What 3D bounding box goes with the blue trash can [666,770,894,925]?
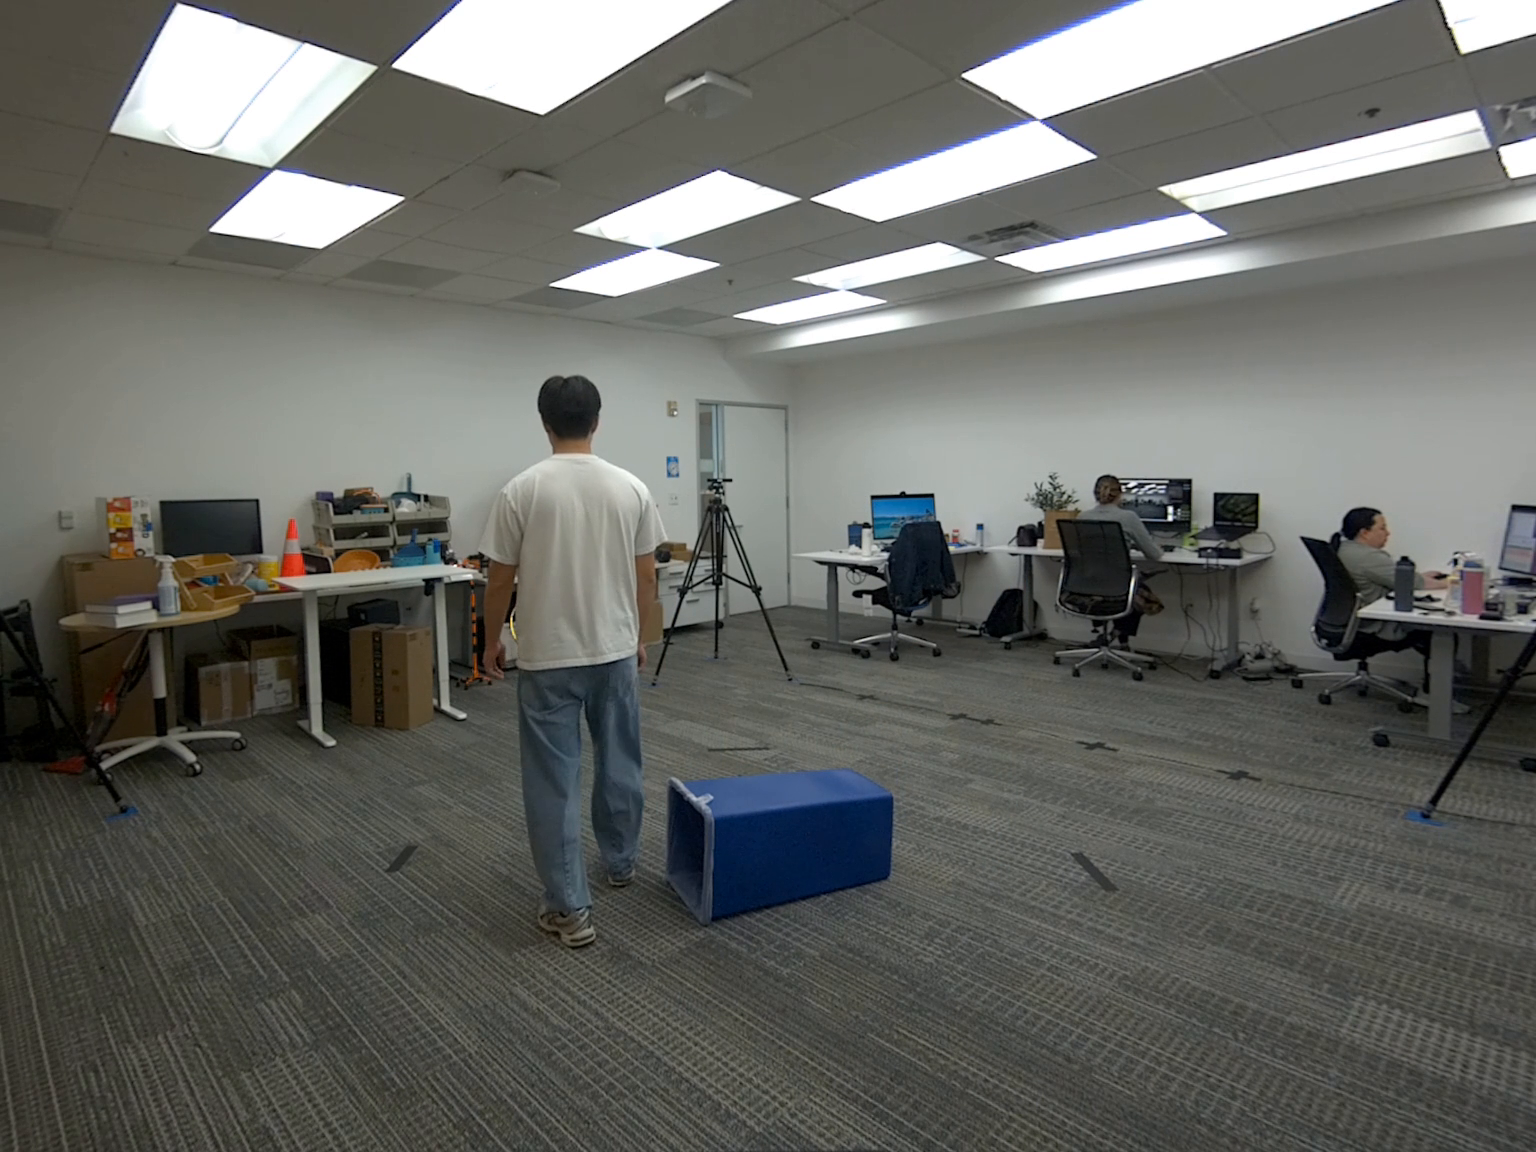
[{"bbox_3d":[0.047,0.895,2.963,0.698,0.377,0.383,-1,4,-25],"label":"blue trash can"}]
